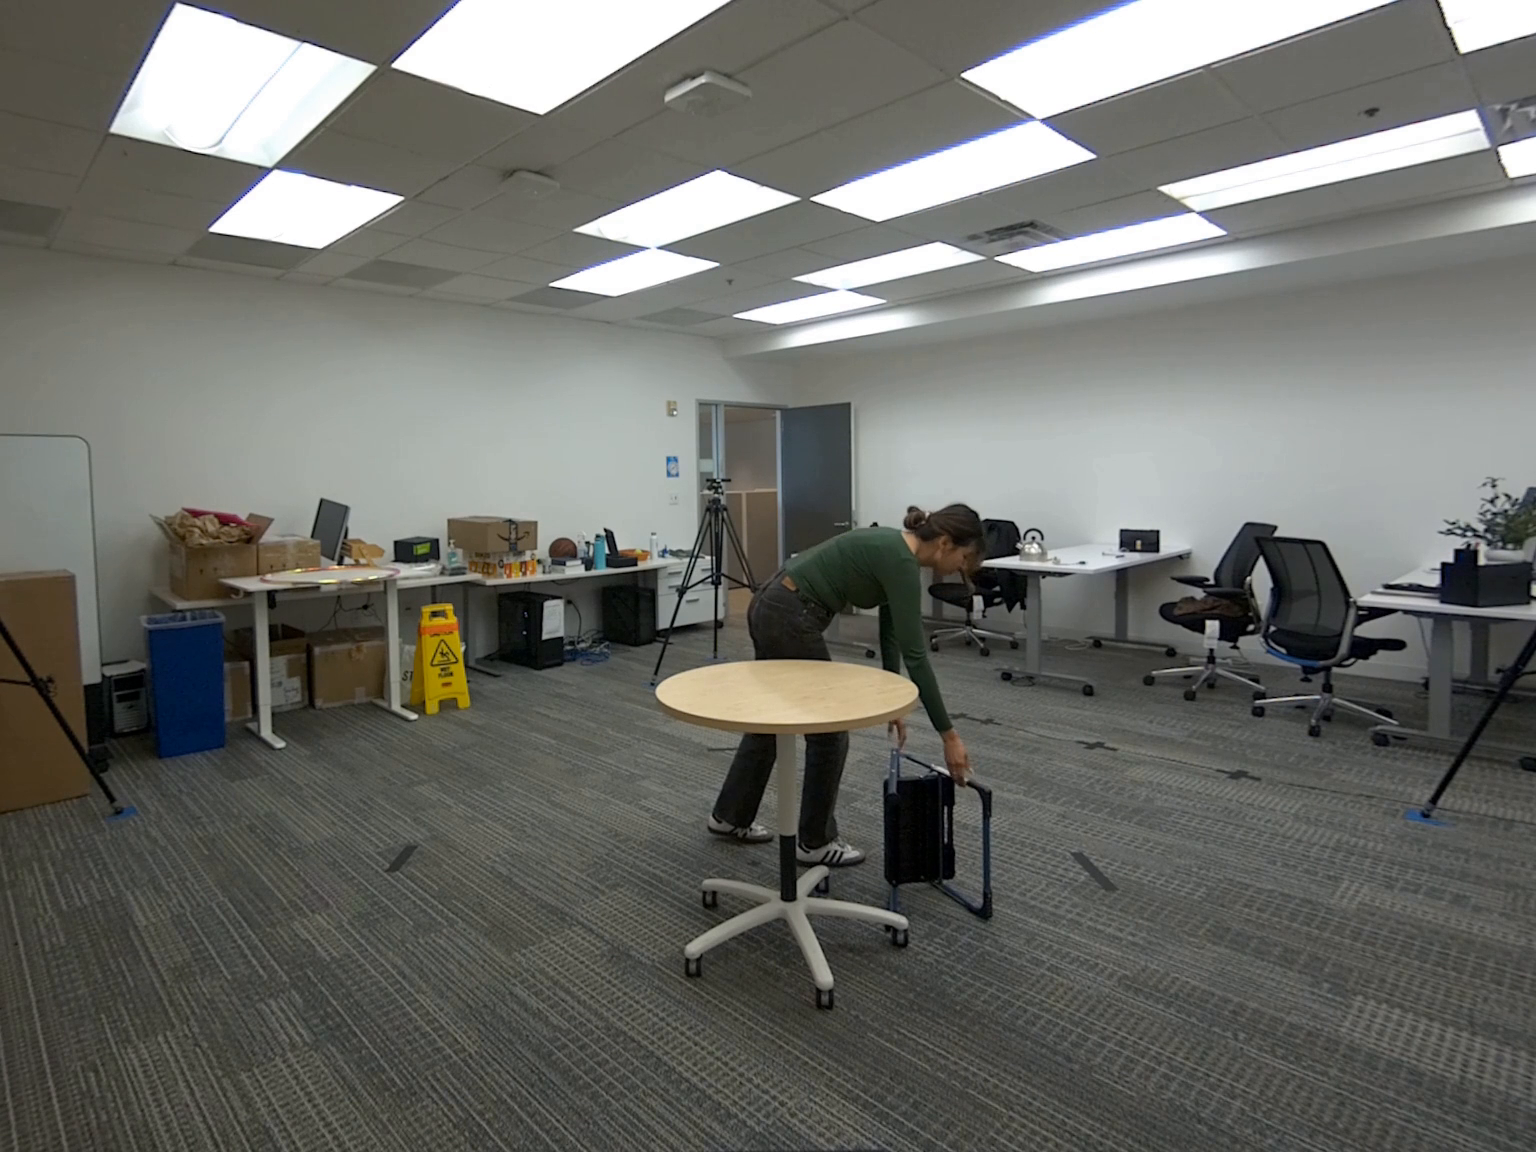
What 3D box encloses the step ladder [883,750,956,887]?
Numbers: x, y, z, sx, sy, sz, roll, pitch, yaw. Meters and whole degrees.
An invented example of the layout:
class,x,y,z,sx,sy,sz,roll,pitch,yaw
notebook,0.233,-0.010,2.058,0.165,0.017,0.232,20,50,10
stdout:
class,x,y,z,sx,sy,sz,roll,pitch,yaw
step ladder,0.472,0.837,2.935,0.346,0.429,0.614,0,4,-11
